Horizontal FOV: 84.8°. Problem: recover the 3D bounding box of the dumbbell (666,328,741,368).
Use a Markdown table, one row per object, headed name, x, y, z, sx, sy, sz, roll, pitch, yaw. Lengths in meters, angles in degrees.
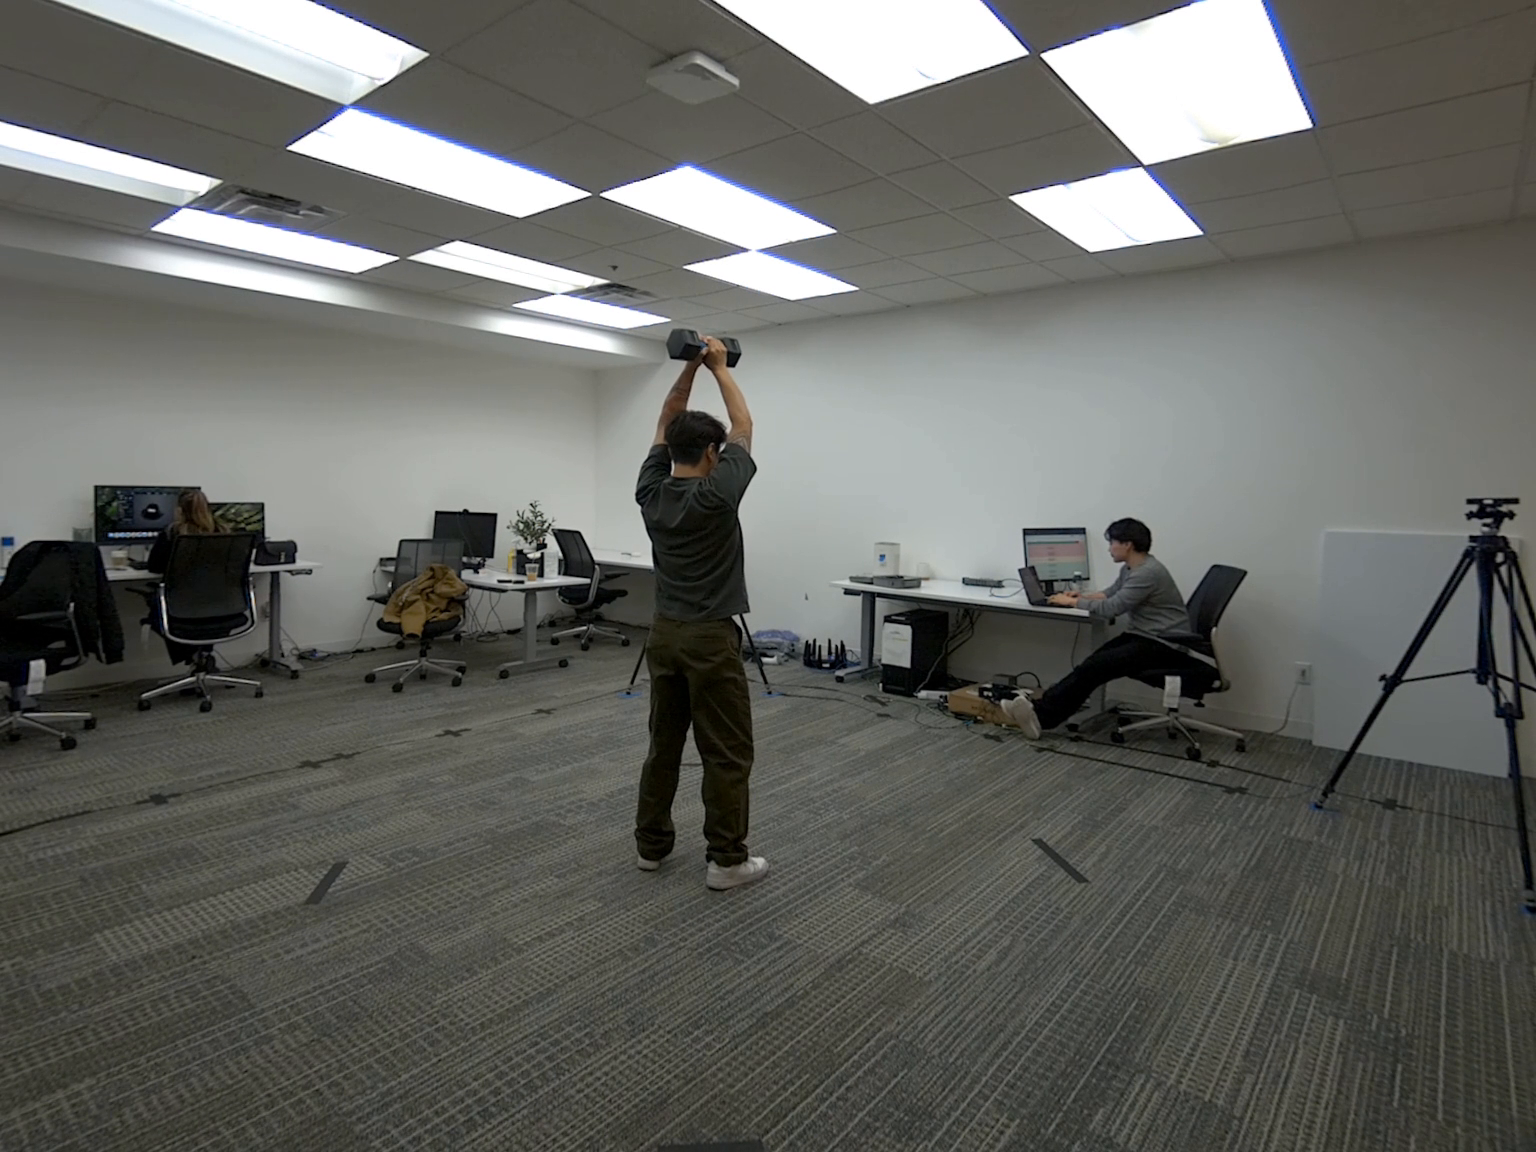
| name | x | y | z | sx | sy | sz | roll | pitch | yaw |
| --- | --- | --- | --- | --- | --- | --- | --- | --- | --- |
| dumbbell | -0.242 | -0.836 | 3.103 | 0.285 | 0.125 | 0.110 | -4 | -19 | -46 |
